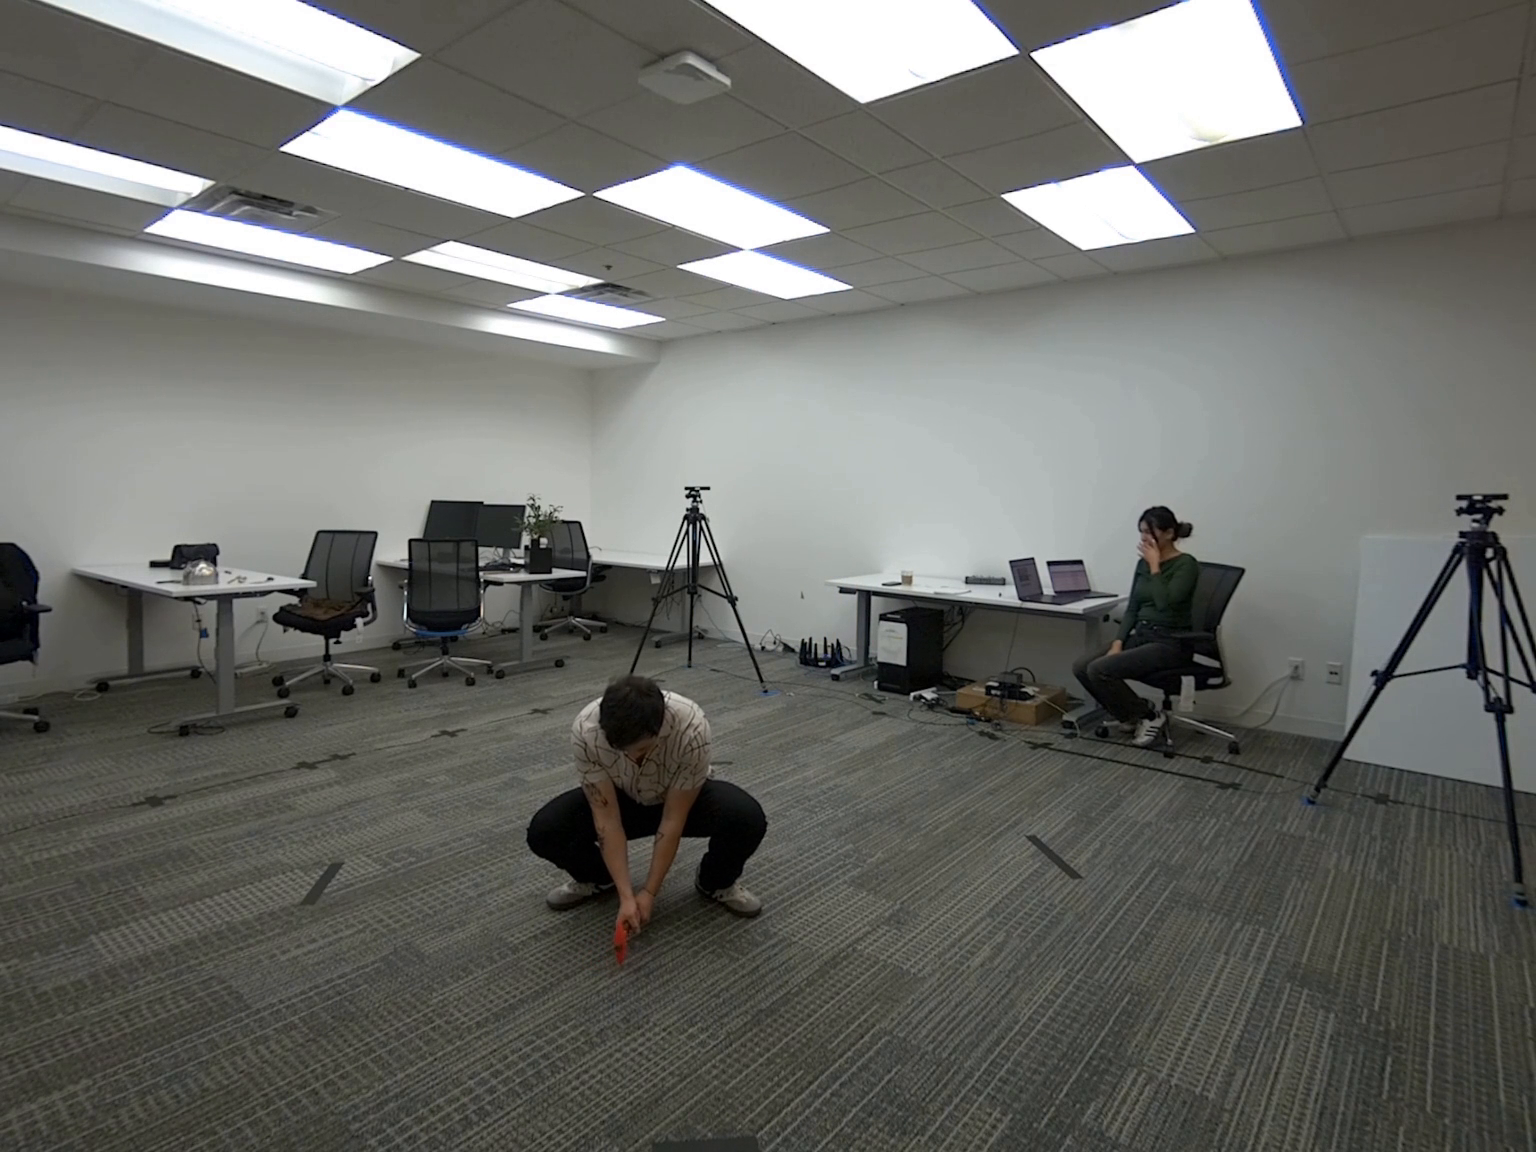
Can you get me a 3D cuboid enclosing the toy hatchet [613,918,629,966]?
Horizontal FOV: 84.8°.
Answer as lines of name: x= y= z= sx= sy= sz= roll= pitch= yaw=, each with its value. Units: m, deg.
toy hatchet: x=-0.420 y=1.065 z=2.528 sx=0.030 sy=0.132 sz=0.264 roll=2 pitch=-13 yaw=9
